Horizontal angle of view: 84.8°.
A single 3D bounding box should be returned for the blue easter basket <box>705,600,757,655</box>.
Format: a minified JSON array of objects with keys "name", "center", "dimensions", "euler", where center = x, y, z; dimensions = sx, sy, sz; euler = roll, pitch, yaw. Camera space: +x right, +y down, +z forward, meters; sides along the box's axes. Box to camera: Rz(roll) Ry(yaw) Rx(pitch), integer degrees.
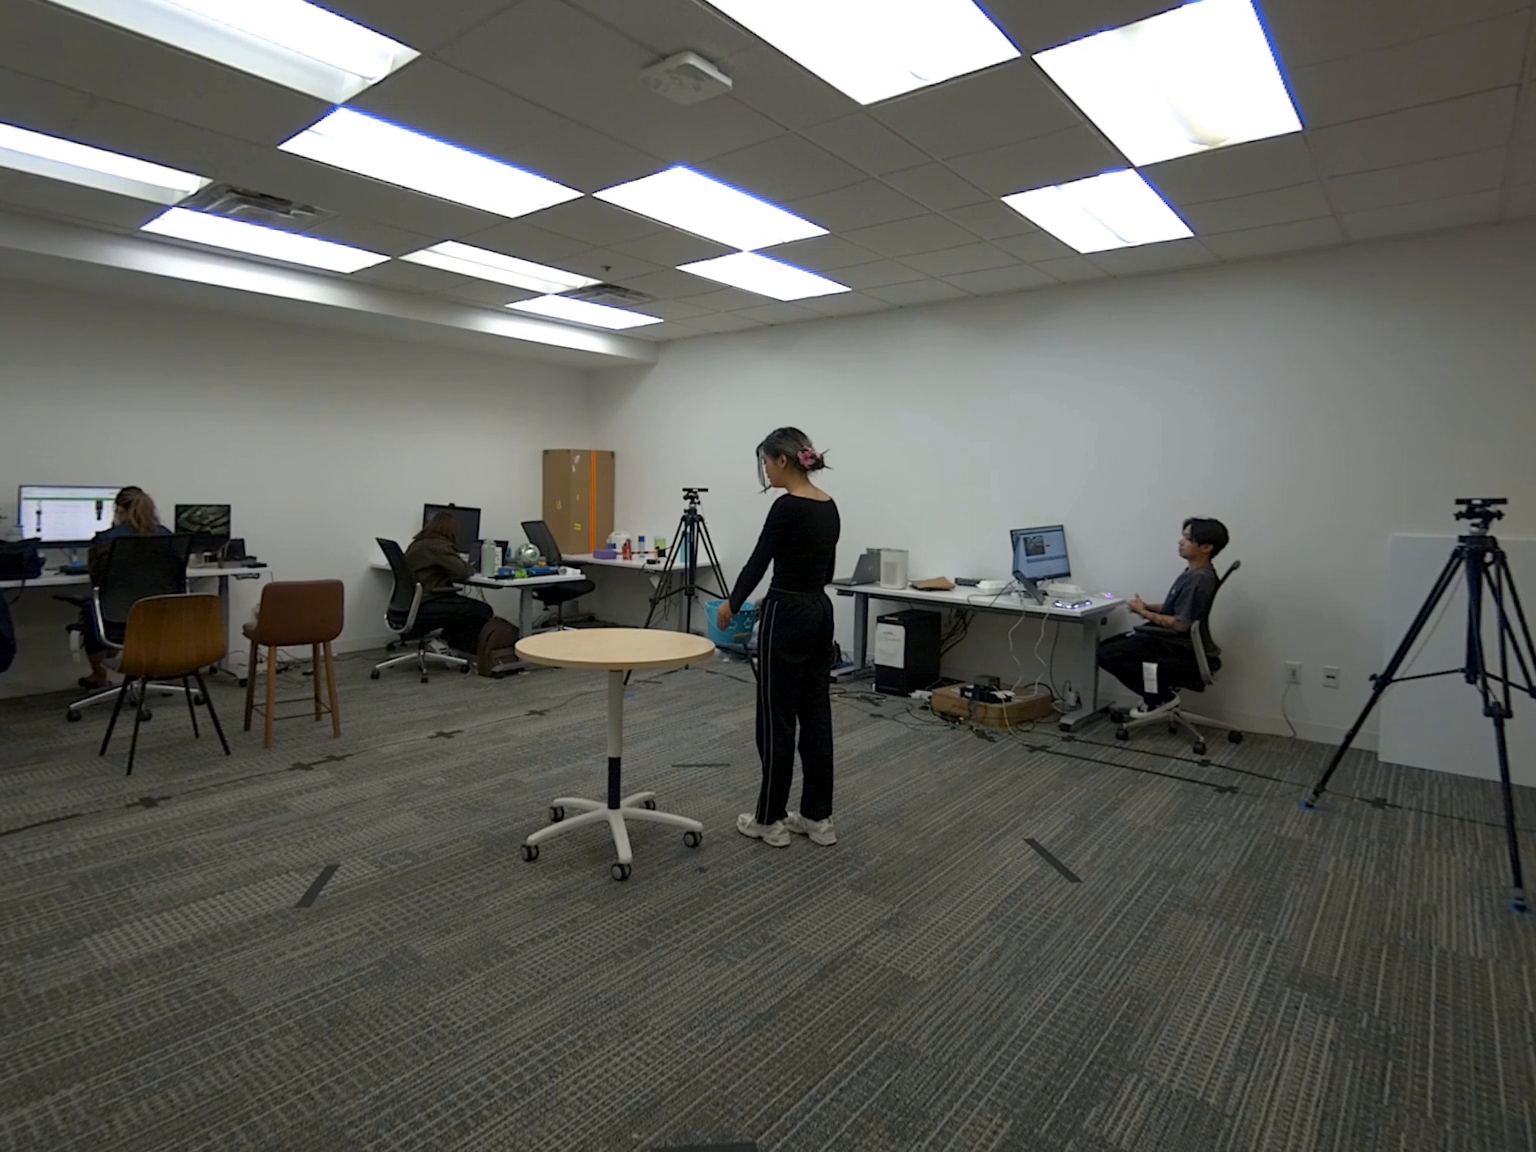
[{"name":"blue easter basket","center":[-0.151,0.198,3.646],"dimensions":[0.243,0.155,0.245],"euler":[2,6,-2]}]
